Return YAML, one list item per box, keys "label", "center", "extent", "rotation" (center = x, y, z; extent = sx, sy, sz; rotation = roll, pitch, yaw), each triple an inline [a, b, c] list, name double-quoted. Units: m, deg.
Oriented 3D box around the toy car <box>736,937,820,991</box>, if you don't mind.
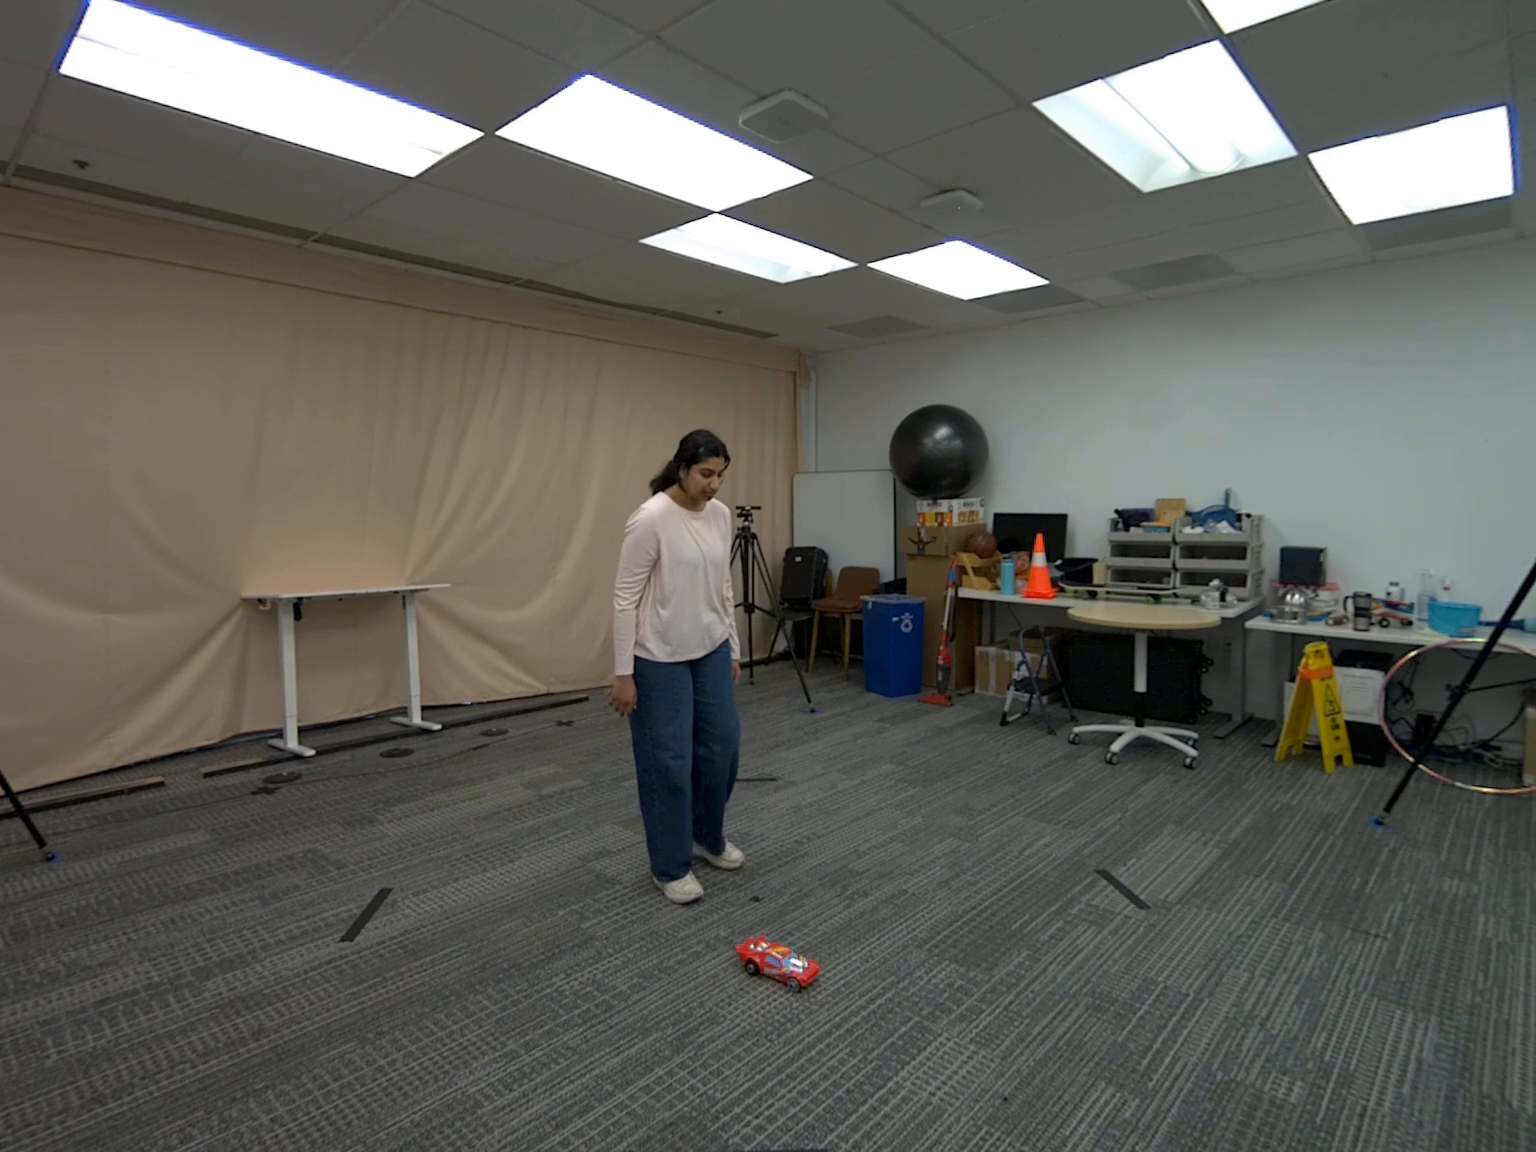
- label: "toy car"
  center: [0.028, 1.152, 2.504]
  extent: [0.263, 0.083, 0.126]
  rotation: [16, 12, 35]
